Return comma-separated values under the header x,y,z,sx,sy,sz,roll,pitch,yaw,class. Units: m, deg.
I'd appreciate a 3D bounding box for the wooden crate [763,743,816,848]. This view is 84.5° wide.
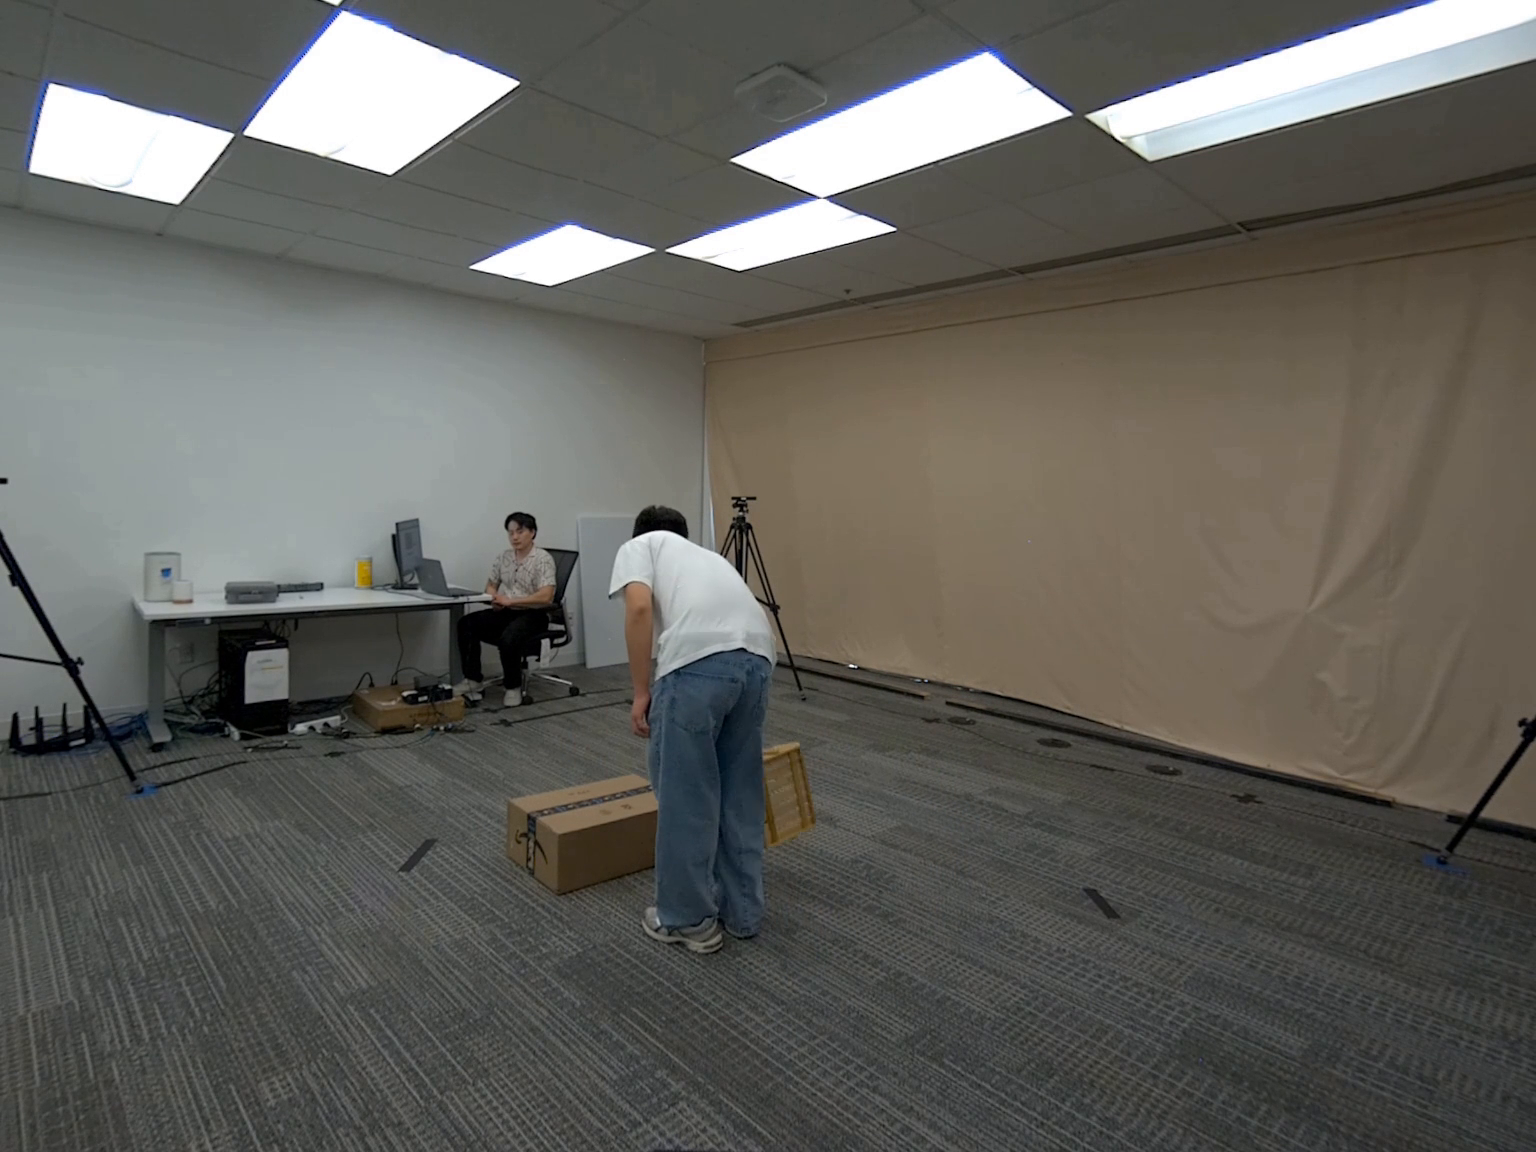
x,y,z,sx,sy,sz,roll,pitch,yaw,class
-0.052,0.786,3.081,0.297,0.324,0.279,-14,4,-36,wooden crate
